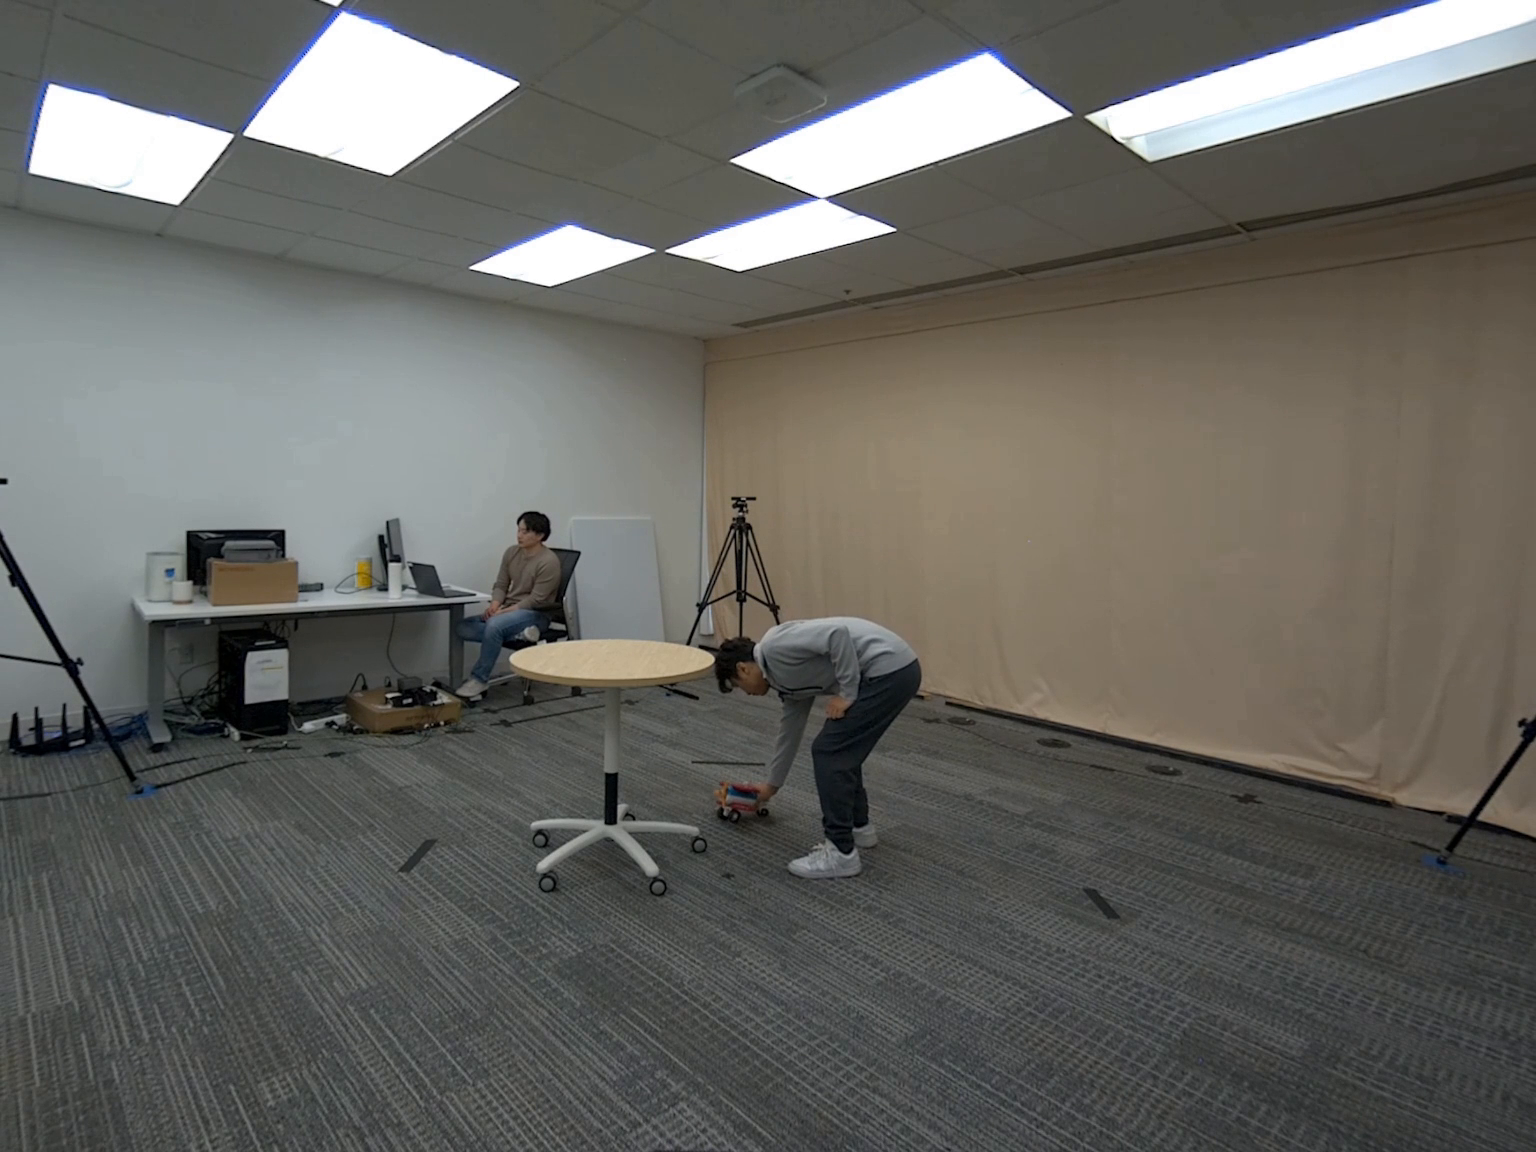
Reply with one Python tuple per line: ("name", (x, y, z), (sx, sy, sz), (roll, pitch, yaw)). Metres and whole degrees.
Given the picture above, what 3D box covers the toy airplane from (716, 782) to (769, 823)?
("toy airplane", (-0.119, 0.976, 3.683), (0.256, 0.157, 0.253), (-6, -6, 30))
